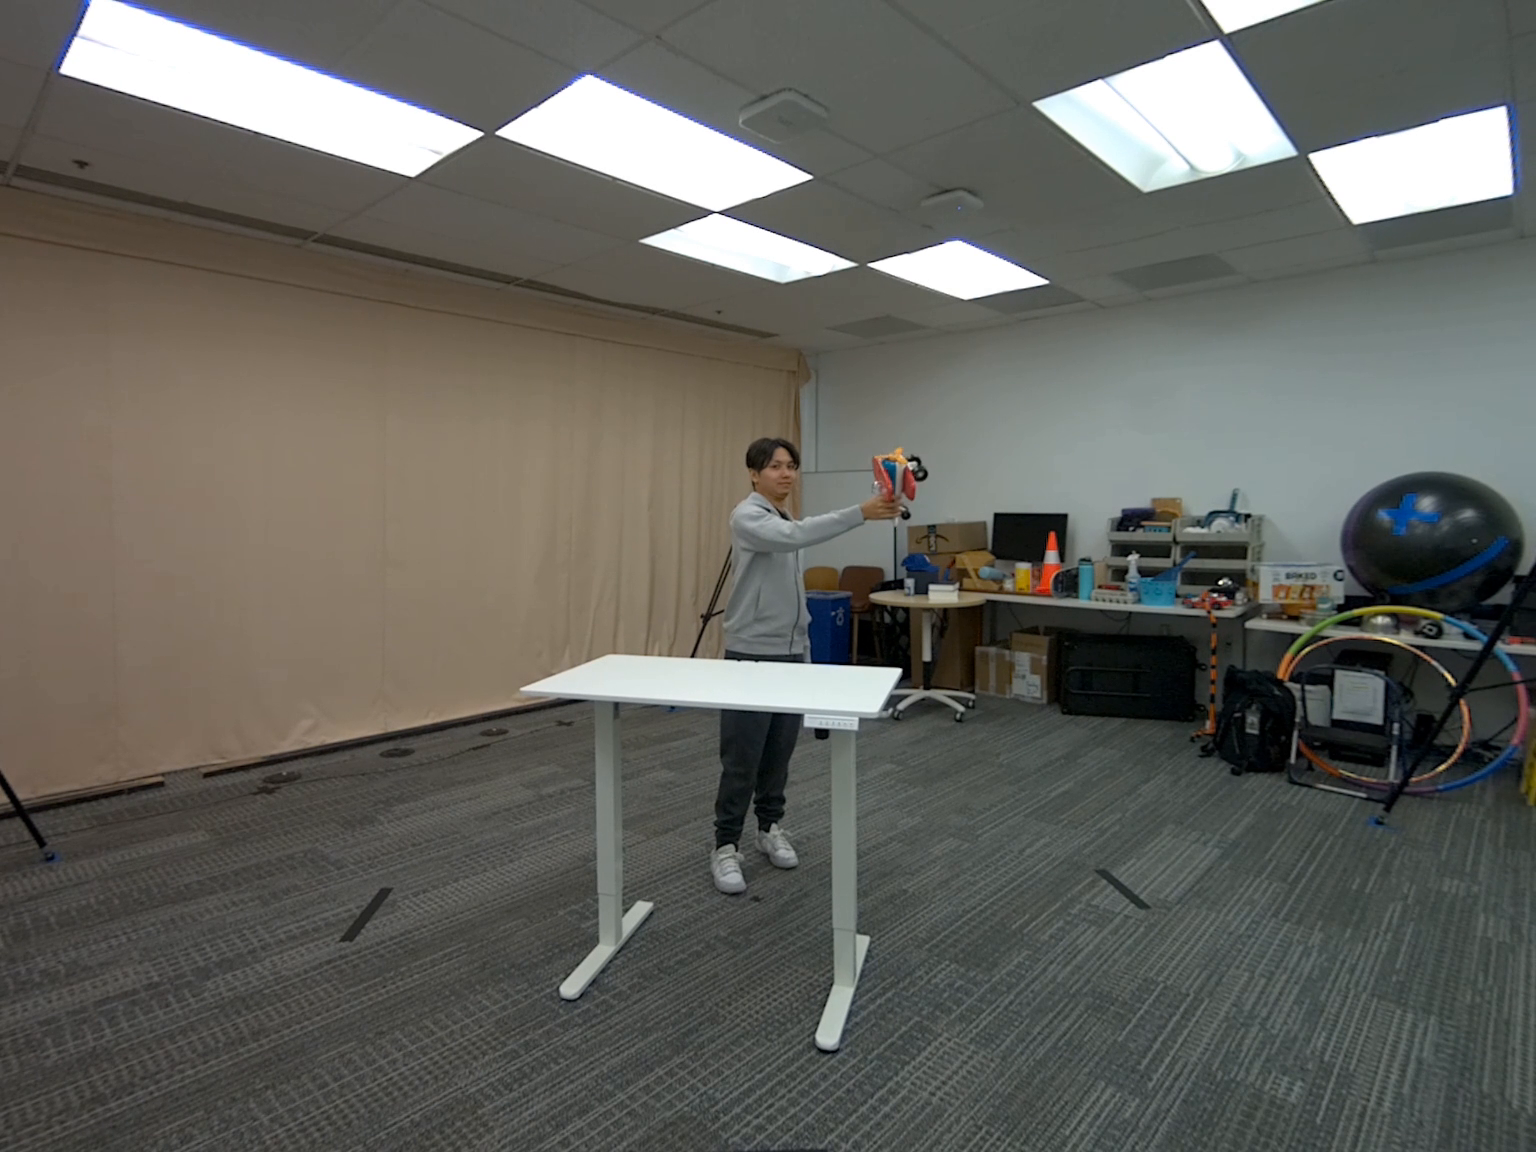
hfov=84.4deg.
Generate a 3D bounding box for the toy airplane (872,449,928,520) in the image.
[{"bbox_3d":[0.446,-0.291,2.915,0.154,0.259,0.255,10,4,-13],"label":"toy airplane"}]
